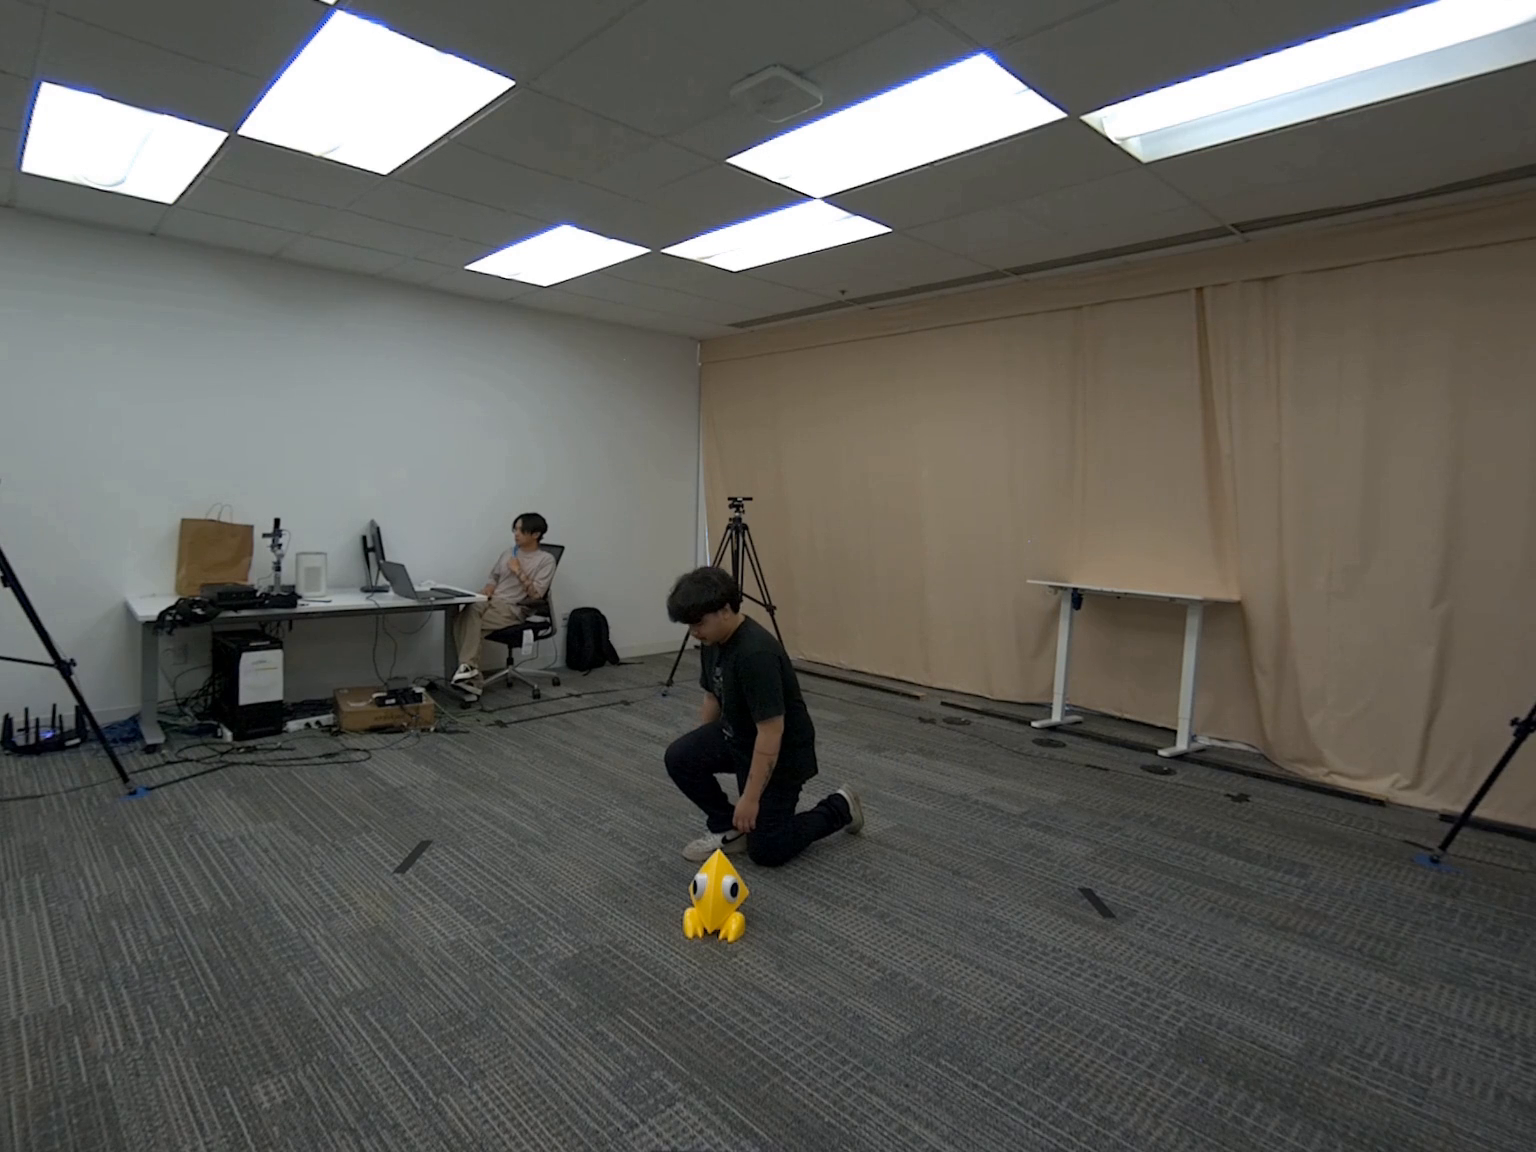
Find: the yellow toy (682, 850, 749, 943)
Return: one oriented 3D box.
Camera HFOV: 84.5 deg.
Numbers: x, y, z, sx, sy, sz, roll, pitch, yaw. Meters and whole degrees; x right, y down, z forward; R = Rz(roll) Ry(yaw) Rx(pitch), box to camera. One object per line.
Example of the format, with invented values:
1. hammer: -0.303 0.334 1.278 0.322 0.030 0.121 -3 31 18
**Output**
1. yellow toy: -0.185 1.032 2.726 0.206 0.230 0.192 1 3 6
